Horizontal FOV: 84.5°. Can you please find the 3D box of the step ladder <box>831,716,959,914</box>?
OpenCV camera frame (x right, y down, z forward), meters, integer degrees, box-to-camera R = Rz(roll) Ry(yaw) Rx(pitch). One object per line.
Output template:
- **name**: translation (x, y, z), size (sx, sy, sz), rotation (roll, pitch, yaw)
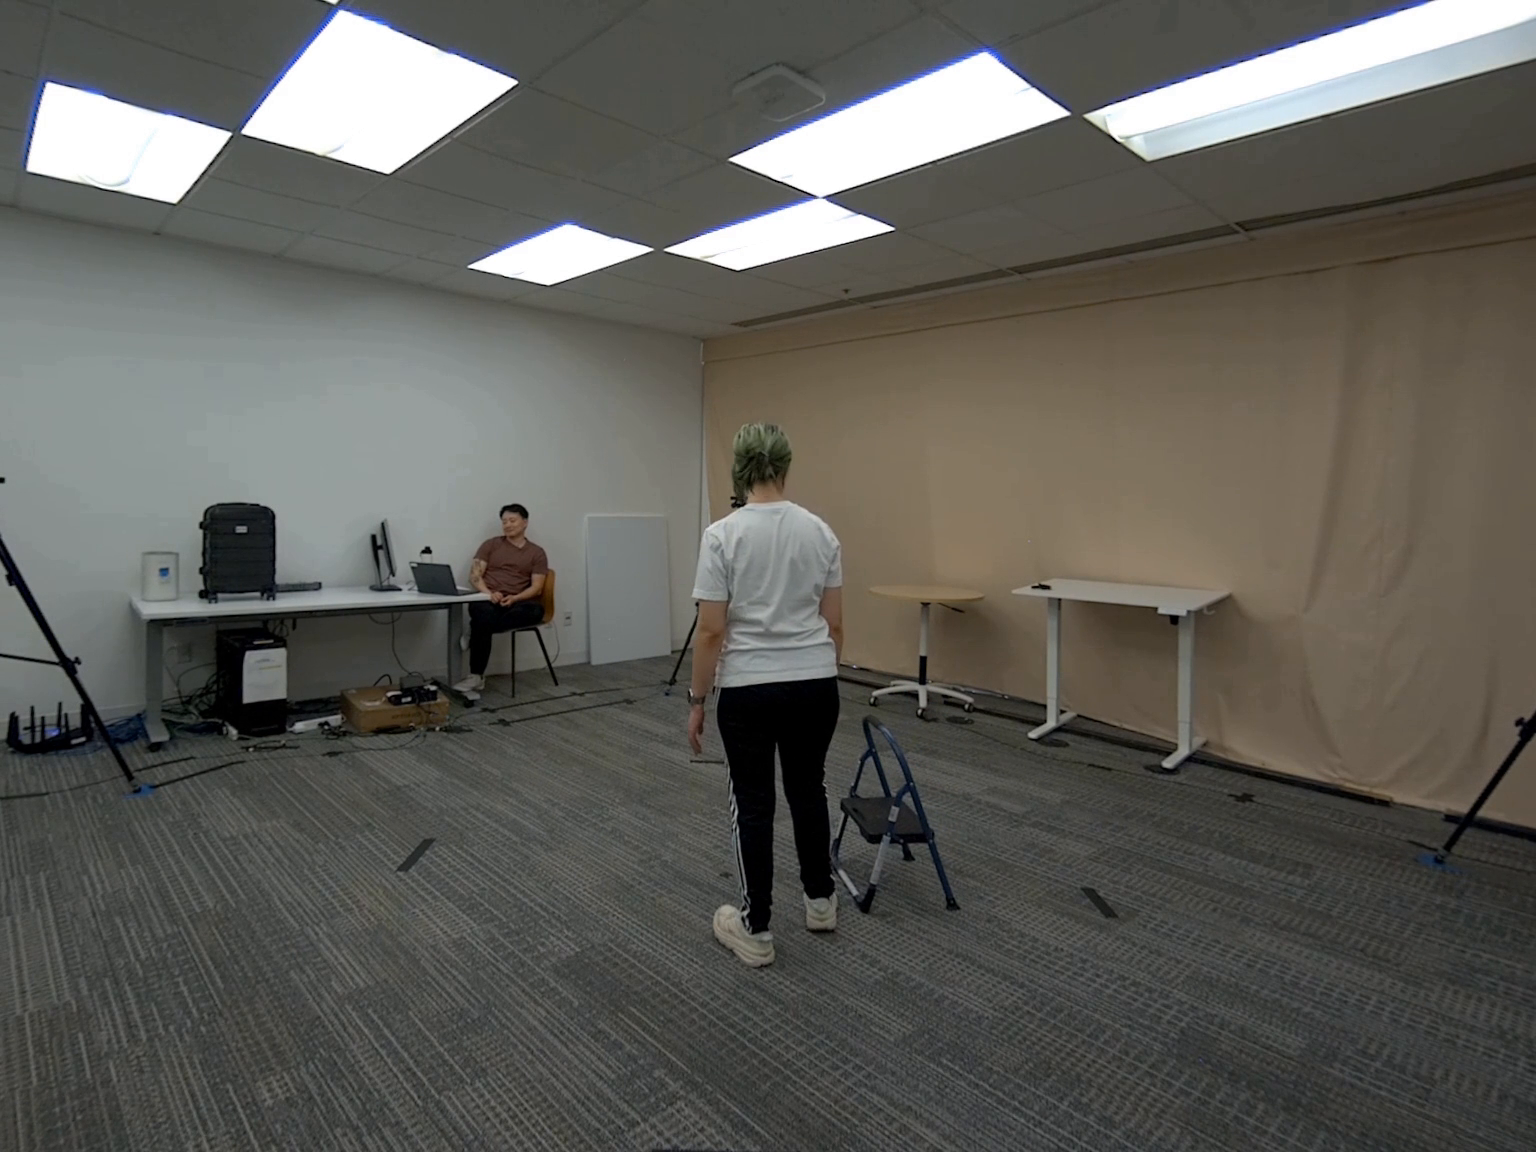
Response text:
- **step ladder**: translation (0.446, 0.824, 3.048), size (0.346, 0.604, 0.436), rotation (1, 4, -12)
